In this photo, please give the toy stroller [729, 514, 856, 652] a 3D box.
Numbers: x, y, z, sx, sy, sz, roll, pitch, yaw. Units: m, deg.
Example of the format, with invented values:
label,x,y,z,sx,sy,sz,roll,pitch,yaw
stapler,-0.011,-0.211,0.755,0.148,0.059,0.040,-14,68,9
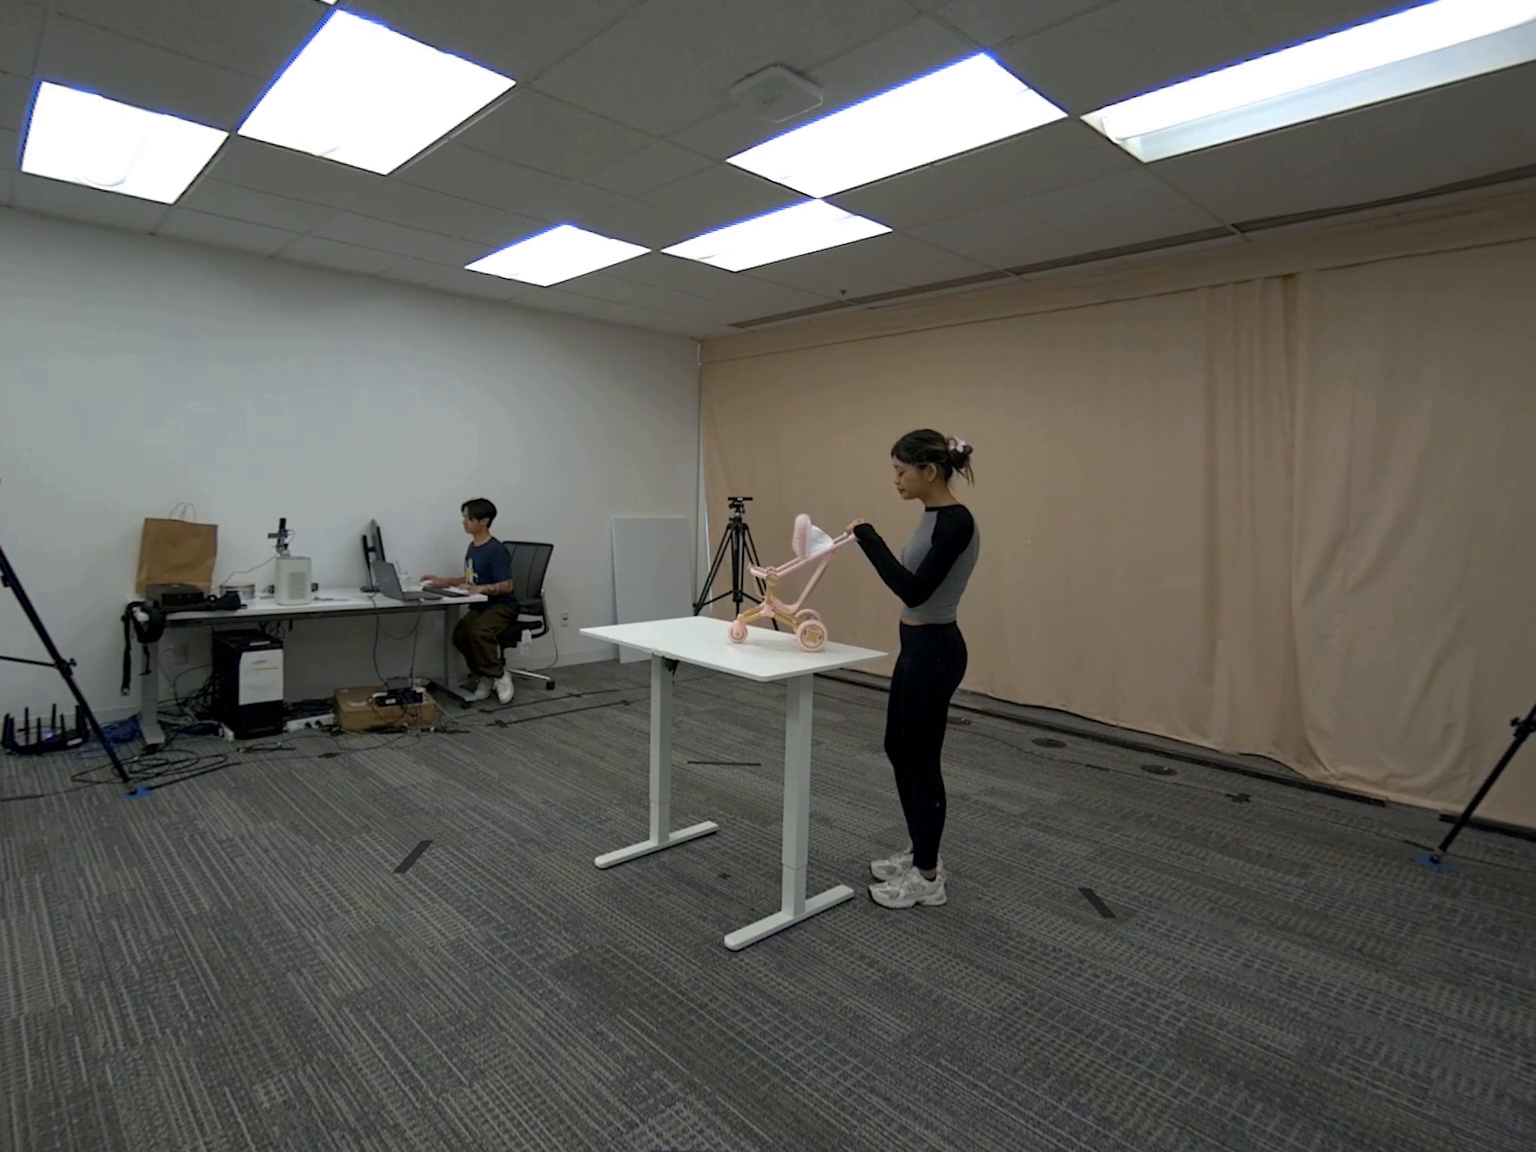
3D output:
label,x,y,z,sx,sy,sz,roll,pitch,yaw
toy stroller,0.084,0.021,2.952,0.343,0.534,0.281,18,5,4
